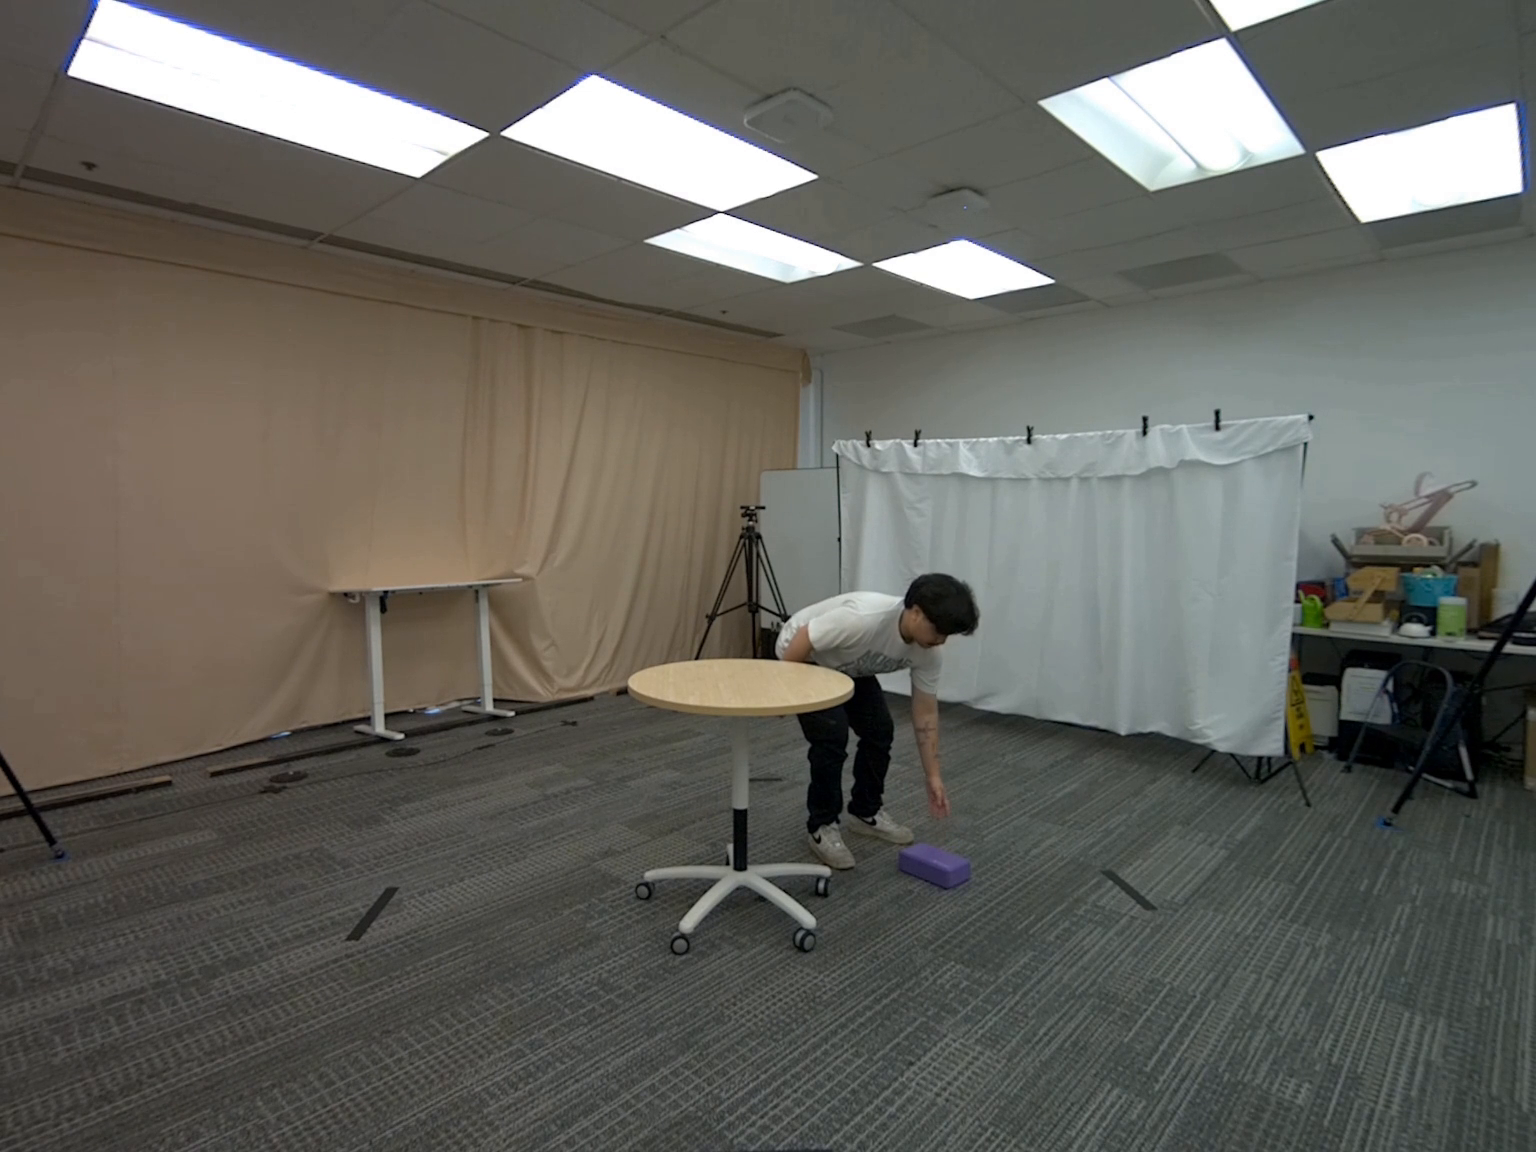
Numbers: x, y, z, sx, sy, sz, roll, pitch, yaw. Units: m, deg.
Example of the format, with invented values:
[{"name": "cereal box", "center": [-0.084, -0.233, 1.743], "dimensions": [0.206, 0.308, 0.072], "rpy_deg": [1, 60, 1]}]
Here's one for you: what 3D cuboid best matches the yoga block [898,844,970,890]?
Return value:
[{"name": "yoga block", "center": [0.628, 1.085, 3.175], "dimensions": [0.144, 0.076, 0.237], "rpy_deg": [-3, 6, -41]}]
